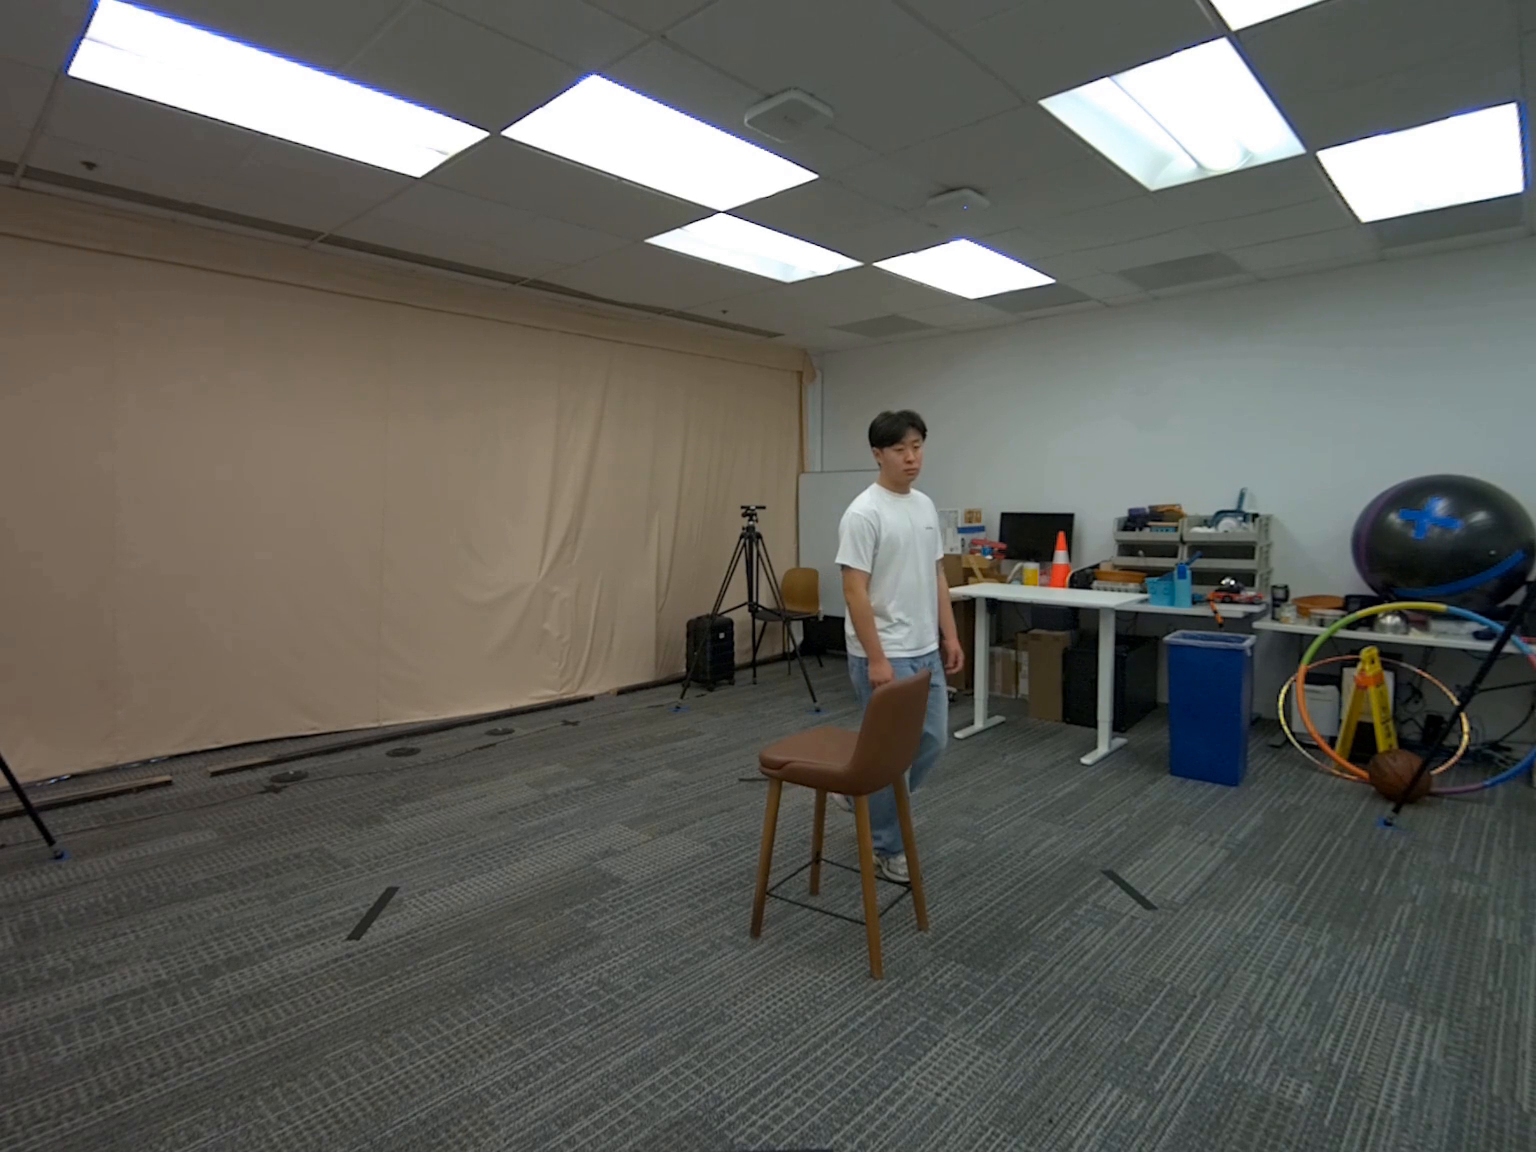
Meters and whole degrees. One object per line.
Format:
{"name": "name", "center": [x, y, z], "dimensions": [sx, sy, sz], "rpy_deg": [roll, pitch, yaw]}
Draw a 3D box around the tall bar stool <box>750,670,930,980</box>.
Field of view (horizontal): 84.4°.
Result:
{"name": "tall bar stool", "center": [0.242, 0.729, 2.721], "dimensions": [0.482, 0.887, 0.443], "rpy_deg": [5, 6, 35]}
